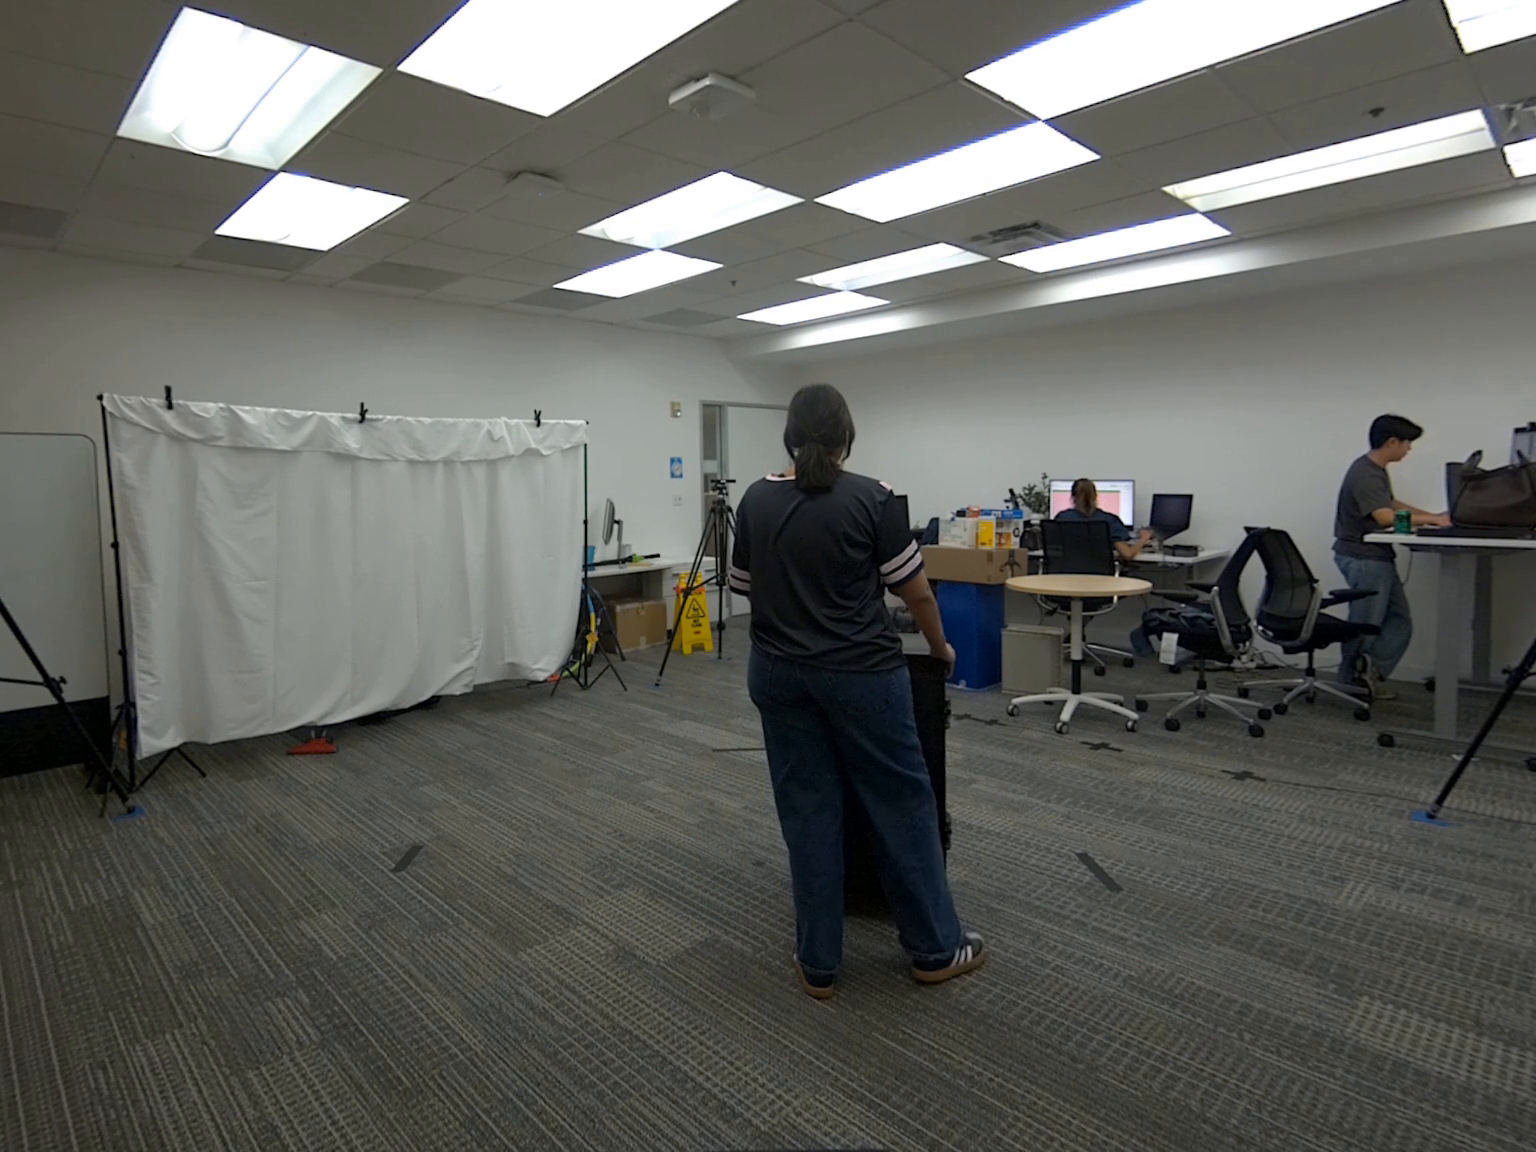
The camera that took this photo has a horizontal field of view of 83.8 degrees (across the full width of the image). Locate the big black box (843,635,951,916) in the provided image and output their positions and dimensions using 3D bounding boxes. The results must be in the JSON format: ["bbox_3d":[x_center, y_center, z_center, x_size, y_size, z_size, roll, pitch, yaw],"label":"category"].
[{"bbox_3d":[0.346,0.648,2.862,0.529,0.866,0.382,0,3,11],"label":"big black box"}]
